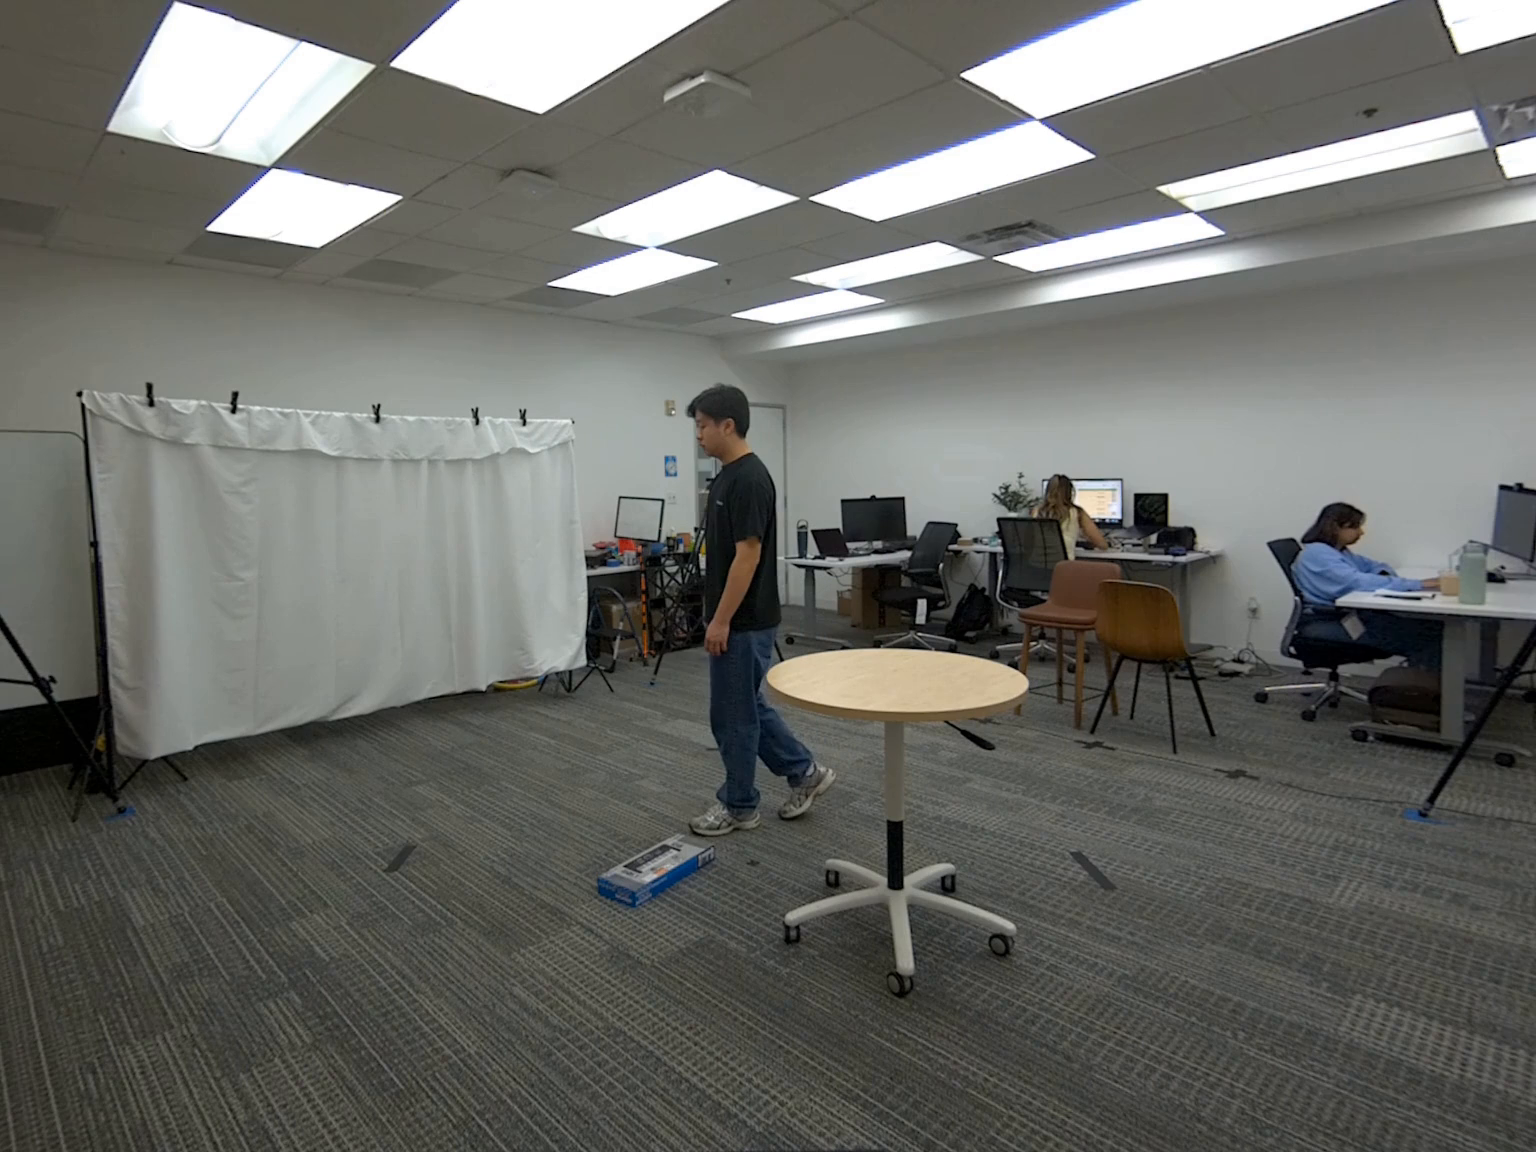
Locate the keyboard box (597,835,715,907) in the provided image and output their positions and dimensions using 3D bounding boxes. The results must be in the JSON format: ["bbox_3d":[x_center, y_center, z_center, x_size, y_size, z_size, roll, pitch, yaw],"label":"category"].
[{"bbox_3d":[-0.381,1.030,3.011,0.181,0.059,0.426,4,8,35],"label":"keyboard box"}]
